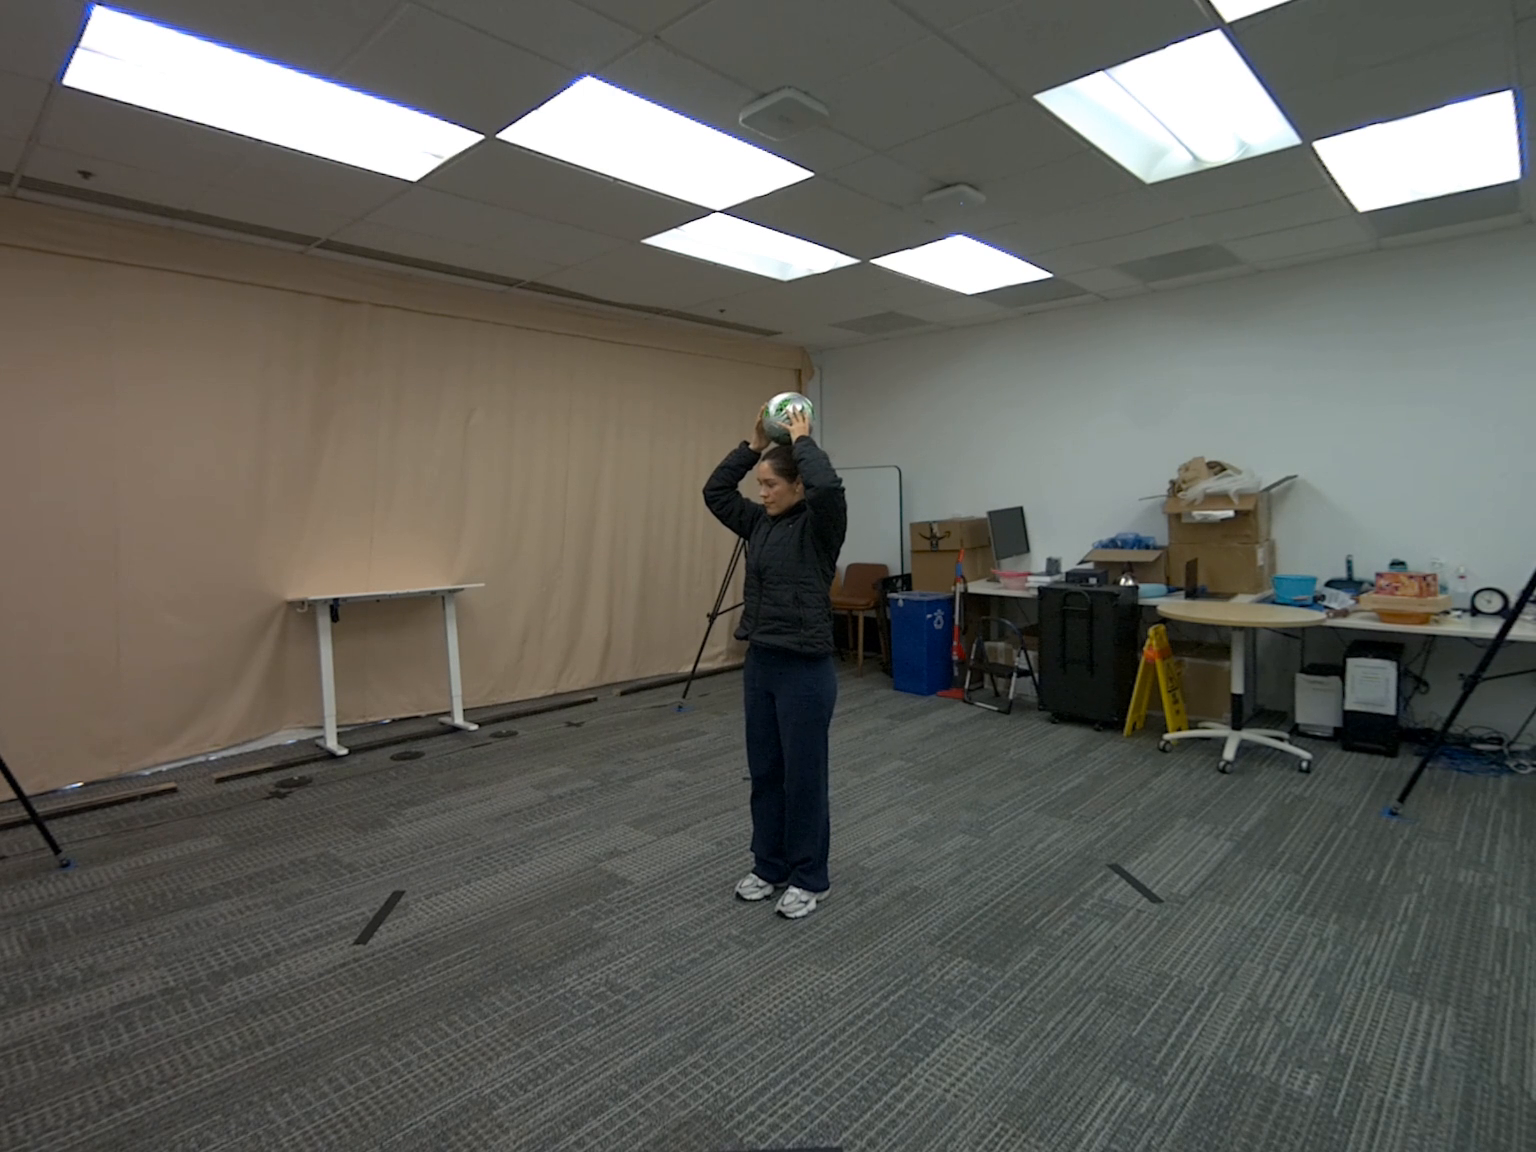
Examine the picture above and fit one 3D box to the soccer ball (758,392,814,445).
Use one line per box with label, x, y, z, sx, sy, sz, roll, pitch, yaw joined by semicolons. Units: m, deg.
soccer ball;0.072;-0.540;2.916;0.187;0.187;0.188;-1;4;-2
